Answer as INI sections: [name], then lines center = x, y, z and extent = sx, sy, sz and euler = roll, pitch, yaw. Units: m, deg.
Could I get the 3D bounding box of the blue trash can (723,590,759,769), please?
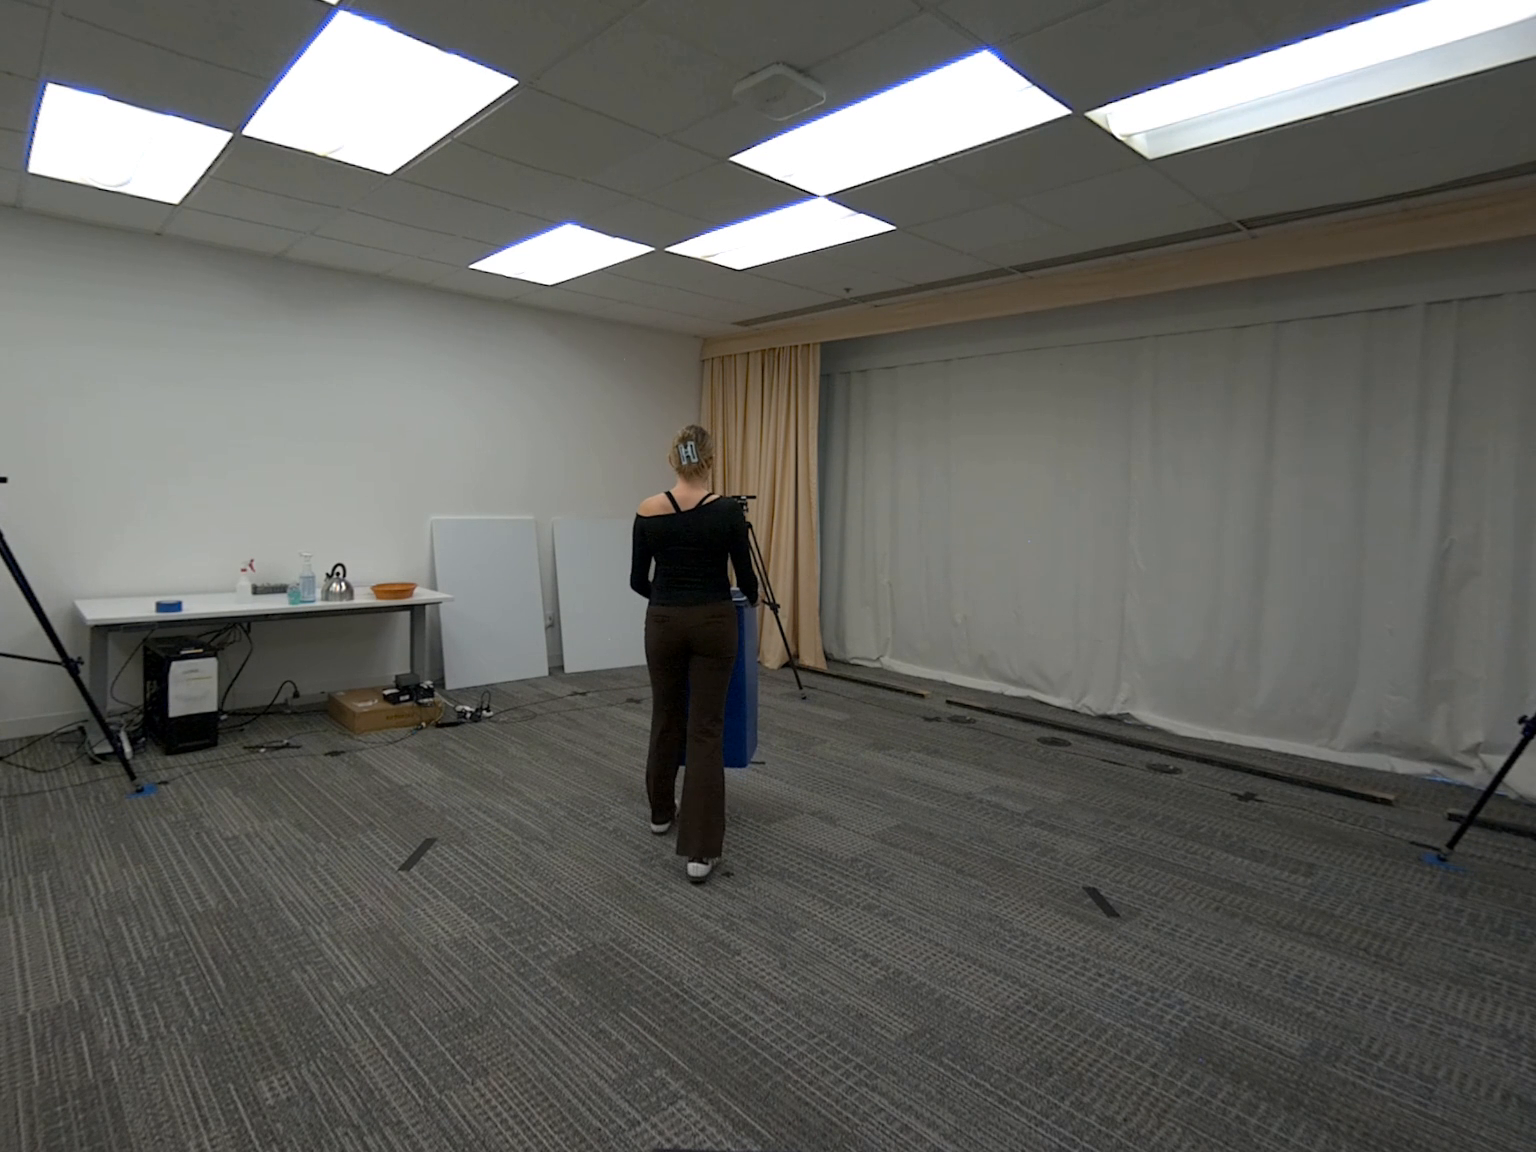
[blue trash can]
center = -0.245, 0.439, 3.657
extent = 0.378, 0.711, 0.375
euler = 0, 5, 14
